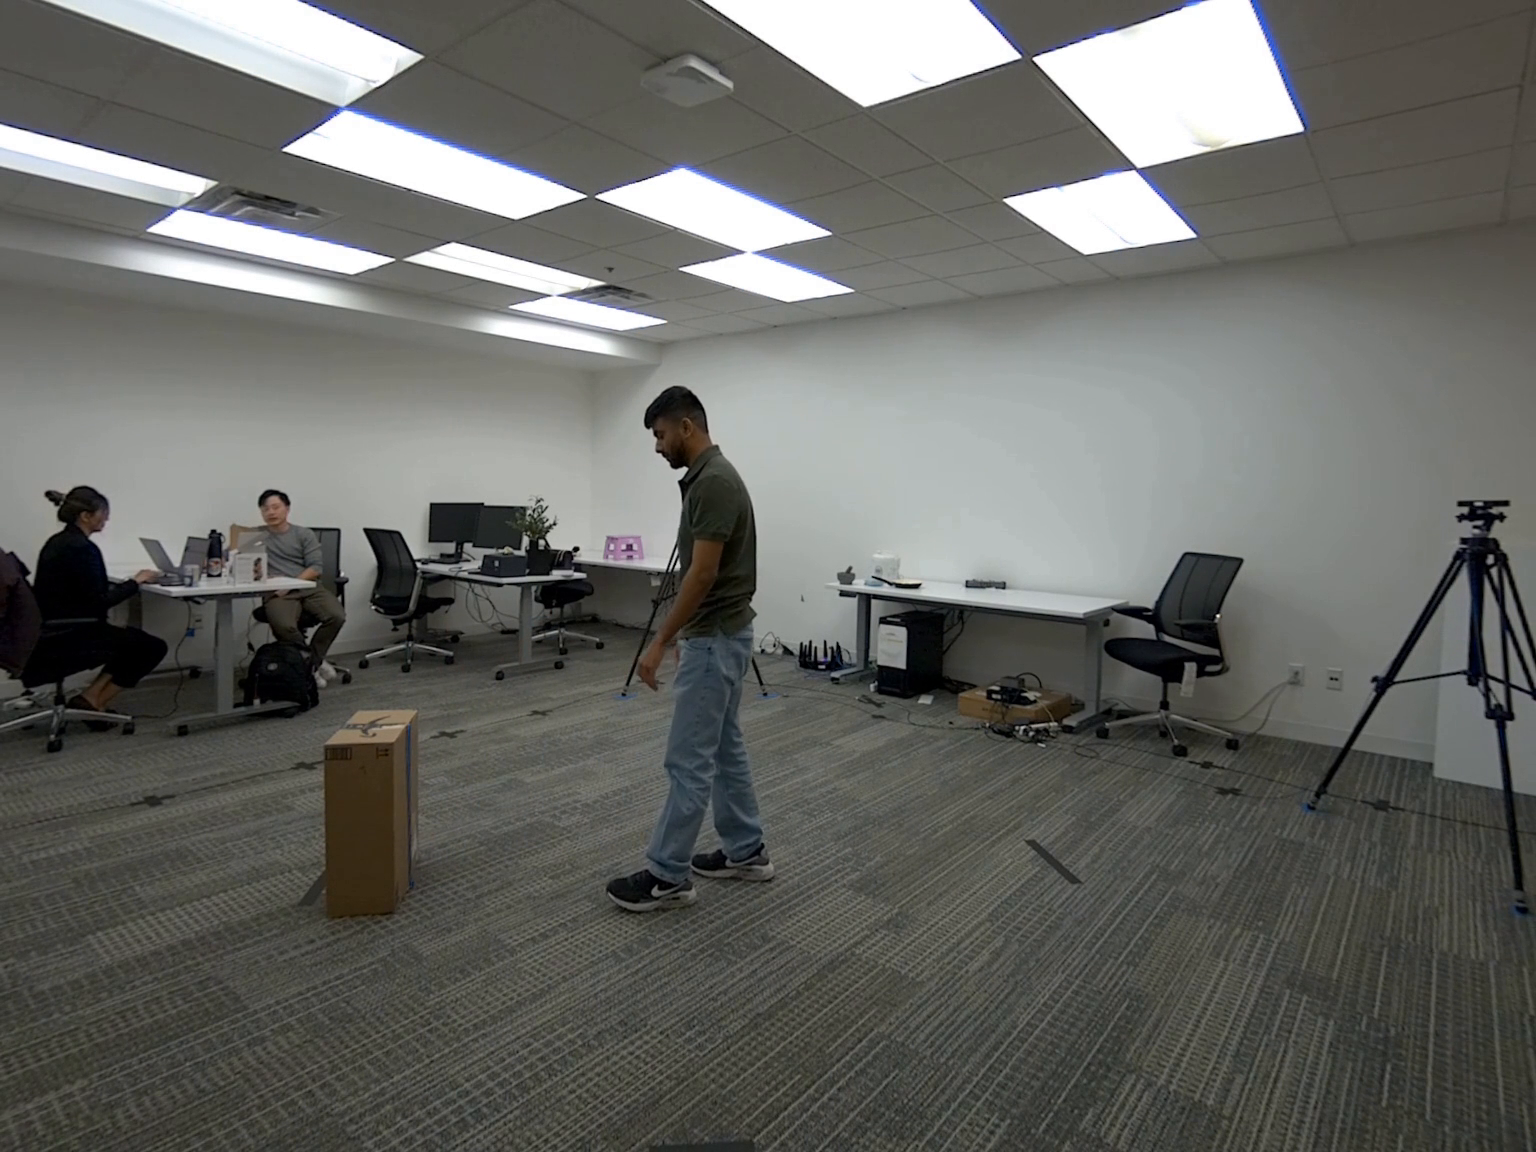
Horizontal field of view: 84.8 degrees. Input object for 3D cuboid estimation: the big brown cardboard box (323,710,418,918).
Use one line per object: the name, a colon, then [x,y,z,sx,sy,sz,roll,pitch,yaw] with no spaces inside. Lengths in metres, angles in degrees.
big brown cardboard box: [-1.364,0.796,2.922,0.230,0.587,0.424,0,4,-12]
